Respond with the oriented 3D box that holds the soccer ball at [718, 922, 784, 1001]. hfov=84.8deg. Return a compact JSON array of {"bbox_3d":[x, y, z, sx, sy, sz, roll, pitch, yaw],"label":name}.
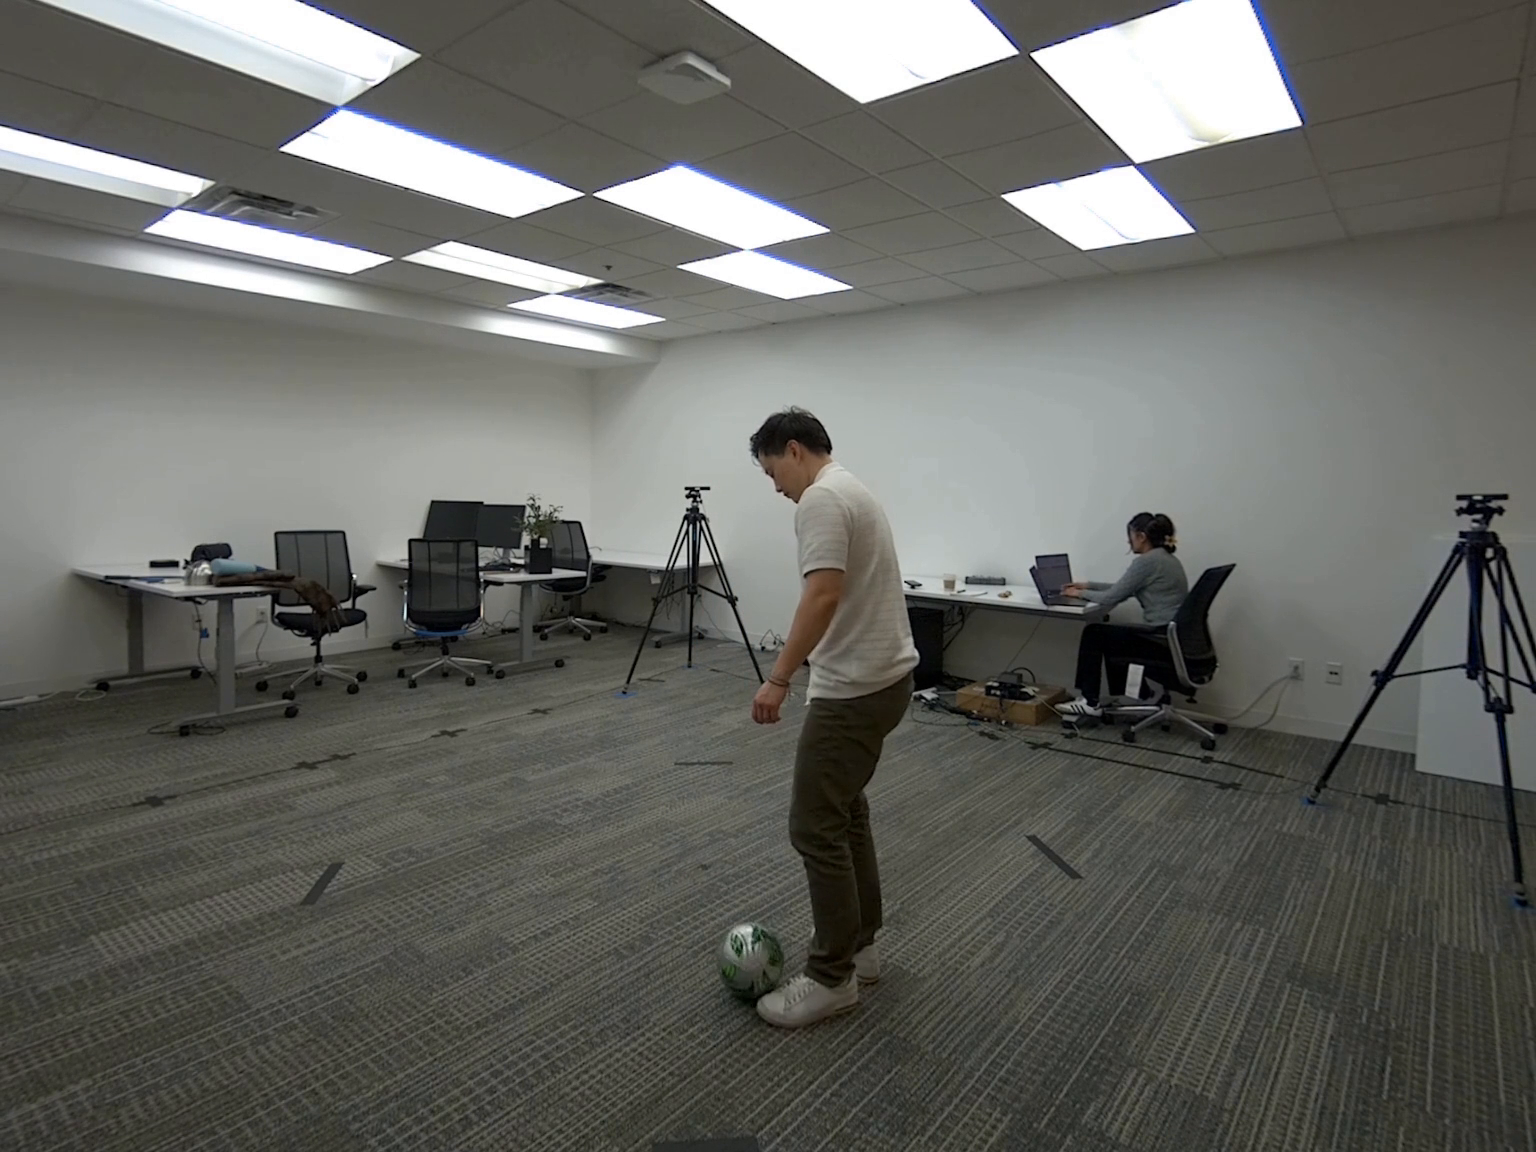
[{"bbox_3d":[-0.057,1.052,2.345,0.187,0.187,0.188,0,4,-2],"label":"soccer ball"}]
